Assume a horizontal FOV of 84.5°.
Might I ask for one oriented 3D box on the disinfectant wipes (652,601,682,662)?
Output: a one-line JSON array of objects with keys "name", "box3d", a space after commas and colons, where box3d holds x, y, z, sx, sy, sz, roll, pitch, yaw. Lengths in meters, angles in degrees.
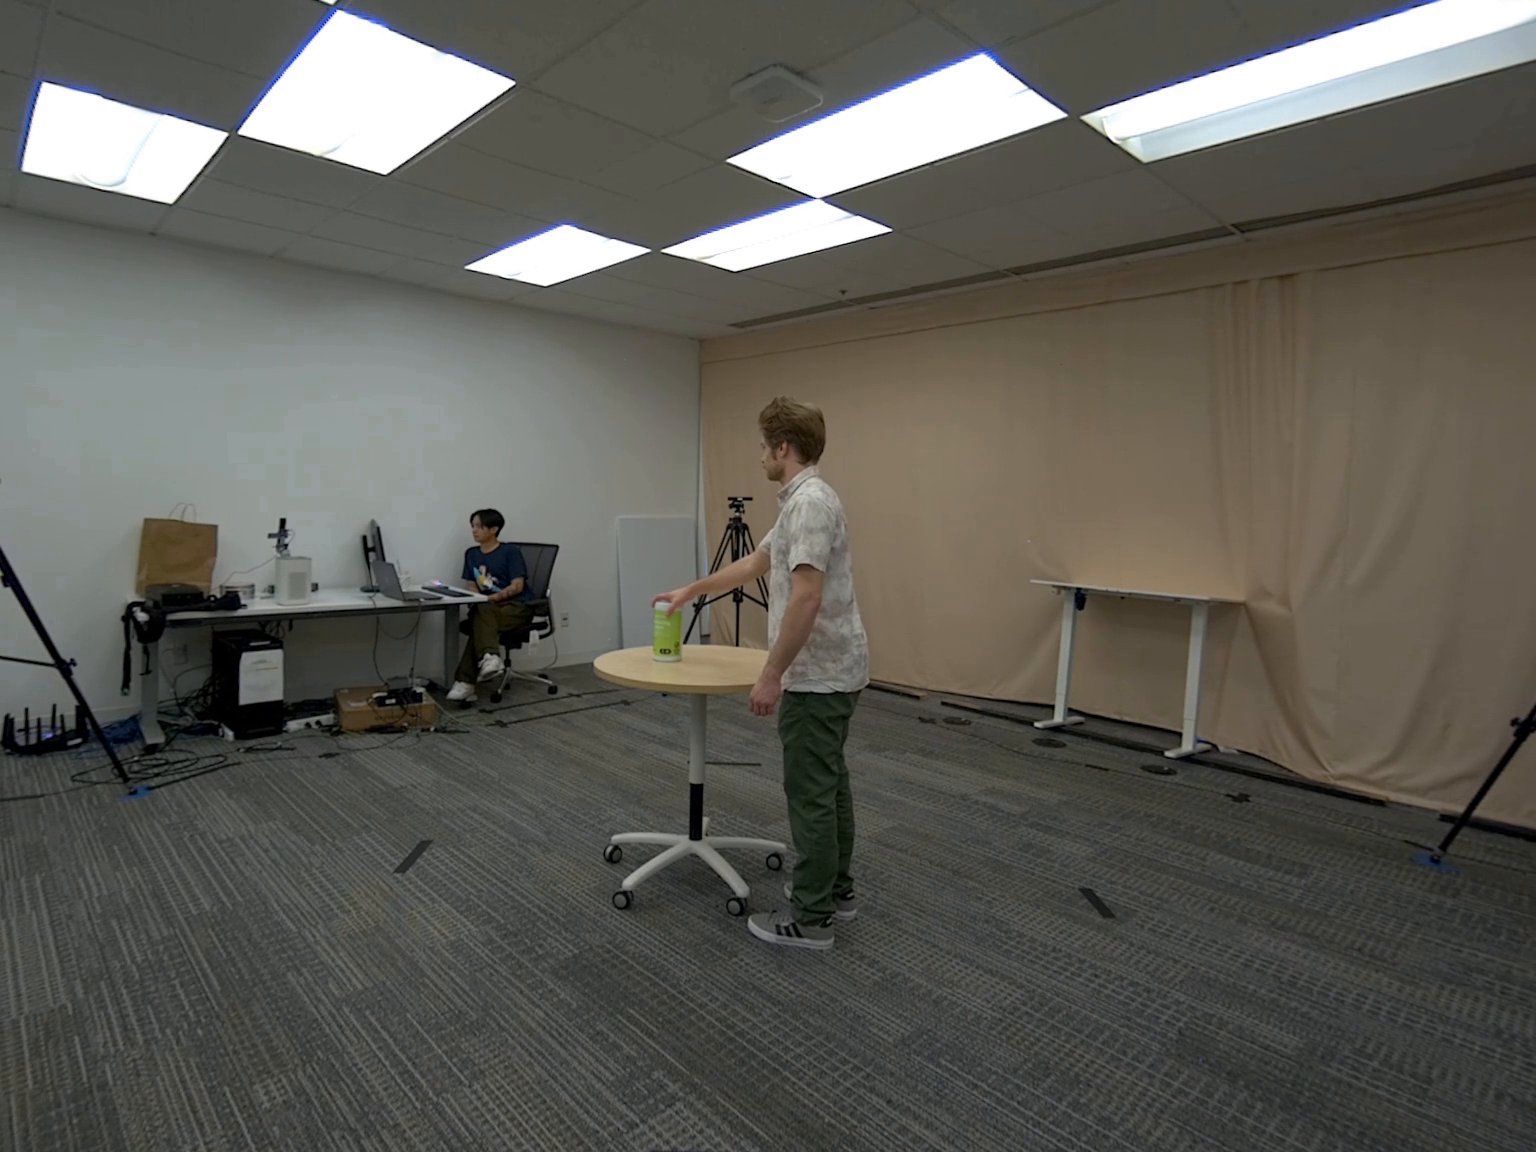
[{"name": "disinfectant wipes", "box3d": [-0.373, 0.202, 3.102, 0.118, 0.217, 0.118, 3, 4, -2]}]
